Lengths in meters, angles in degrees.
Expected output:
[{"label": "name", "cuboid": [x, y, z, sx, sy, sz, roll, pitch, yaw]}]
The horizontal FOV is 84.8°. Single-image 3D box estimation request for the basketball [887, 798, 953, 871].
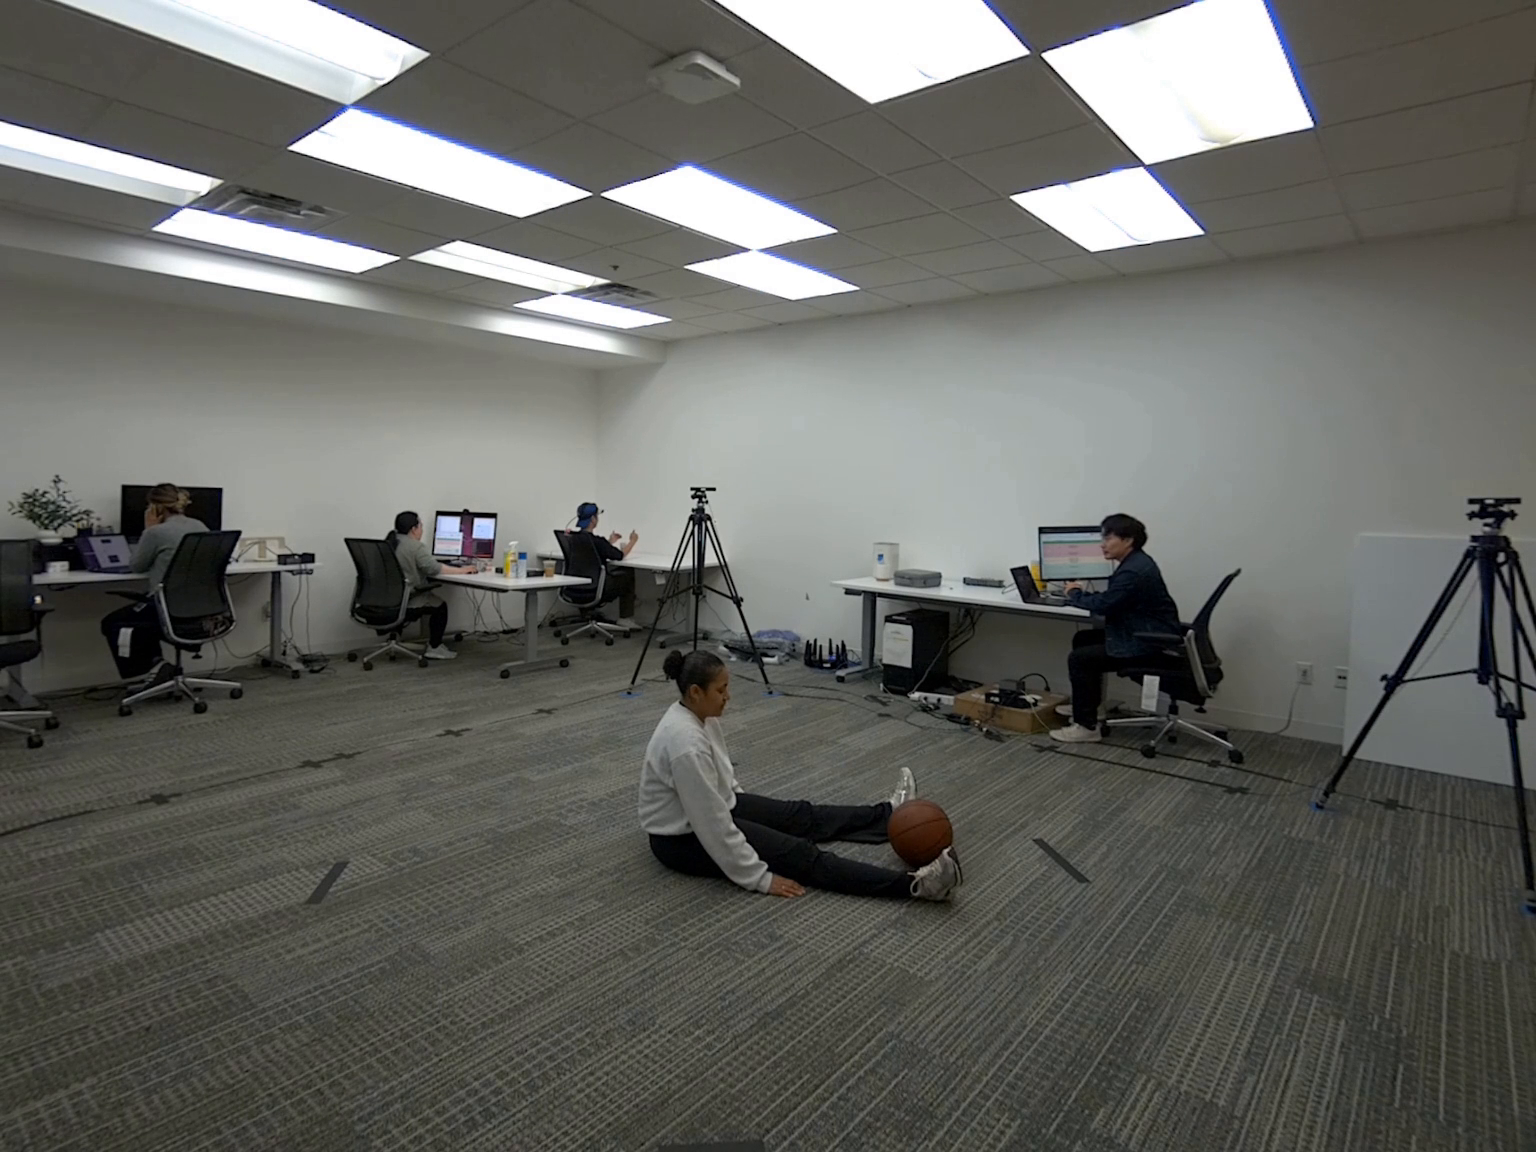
[{"label": "basketball", "cuboid": [0.565, 0.960, 3.196, 0.235, 0.235, 0.237, 1, 4, -2]}]
